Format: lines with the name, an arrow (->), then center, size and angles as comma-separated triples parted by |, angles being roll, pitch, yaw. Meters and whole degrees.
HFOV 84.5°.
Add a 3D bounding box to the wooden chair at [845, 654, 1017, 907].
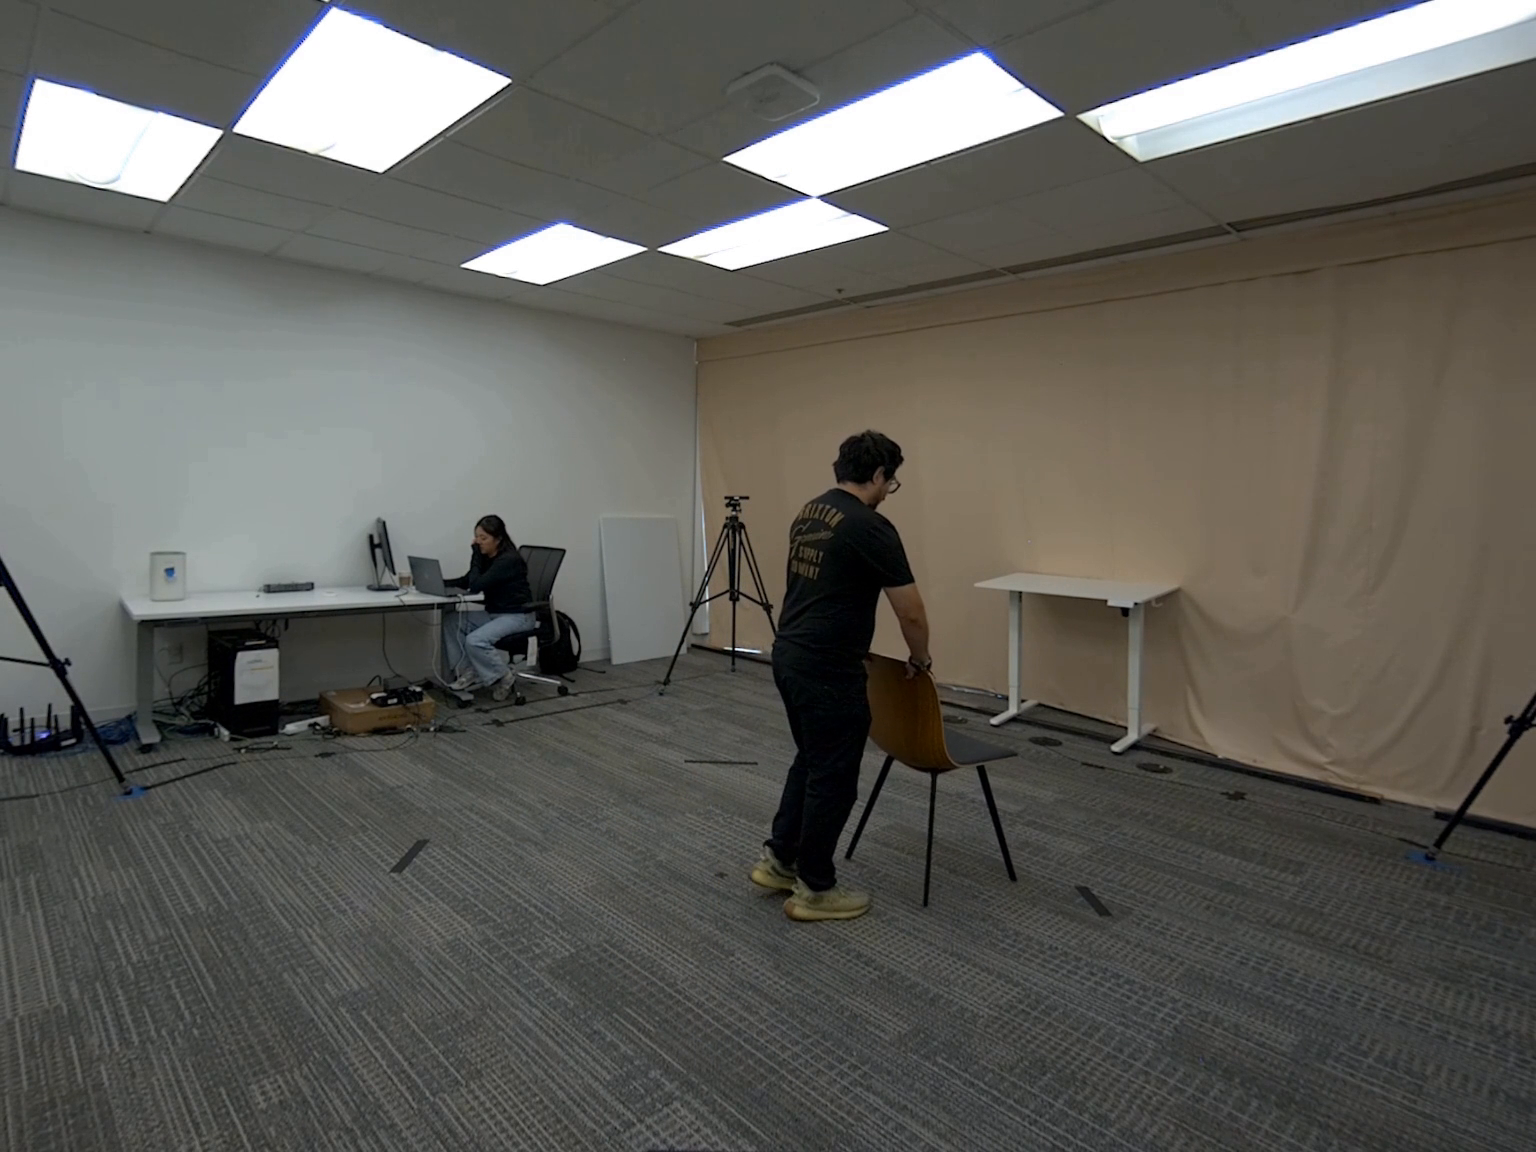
wooden chair -> 0.621, 0.688, 3.176 | 0.513, 0.874, 0.489 | -5, 6, -30
